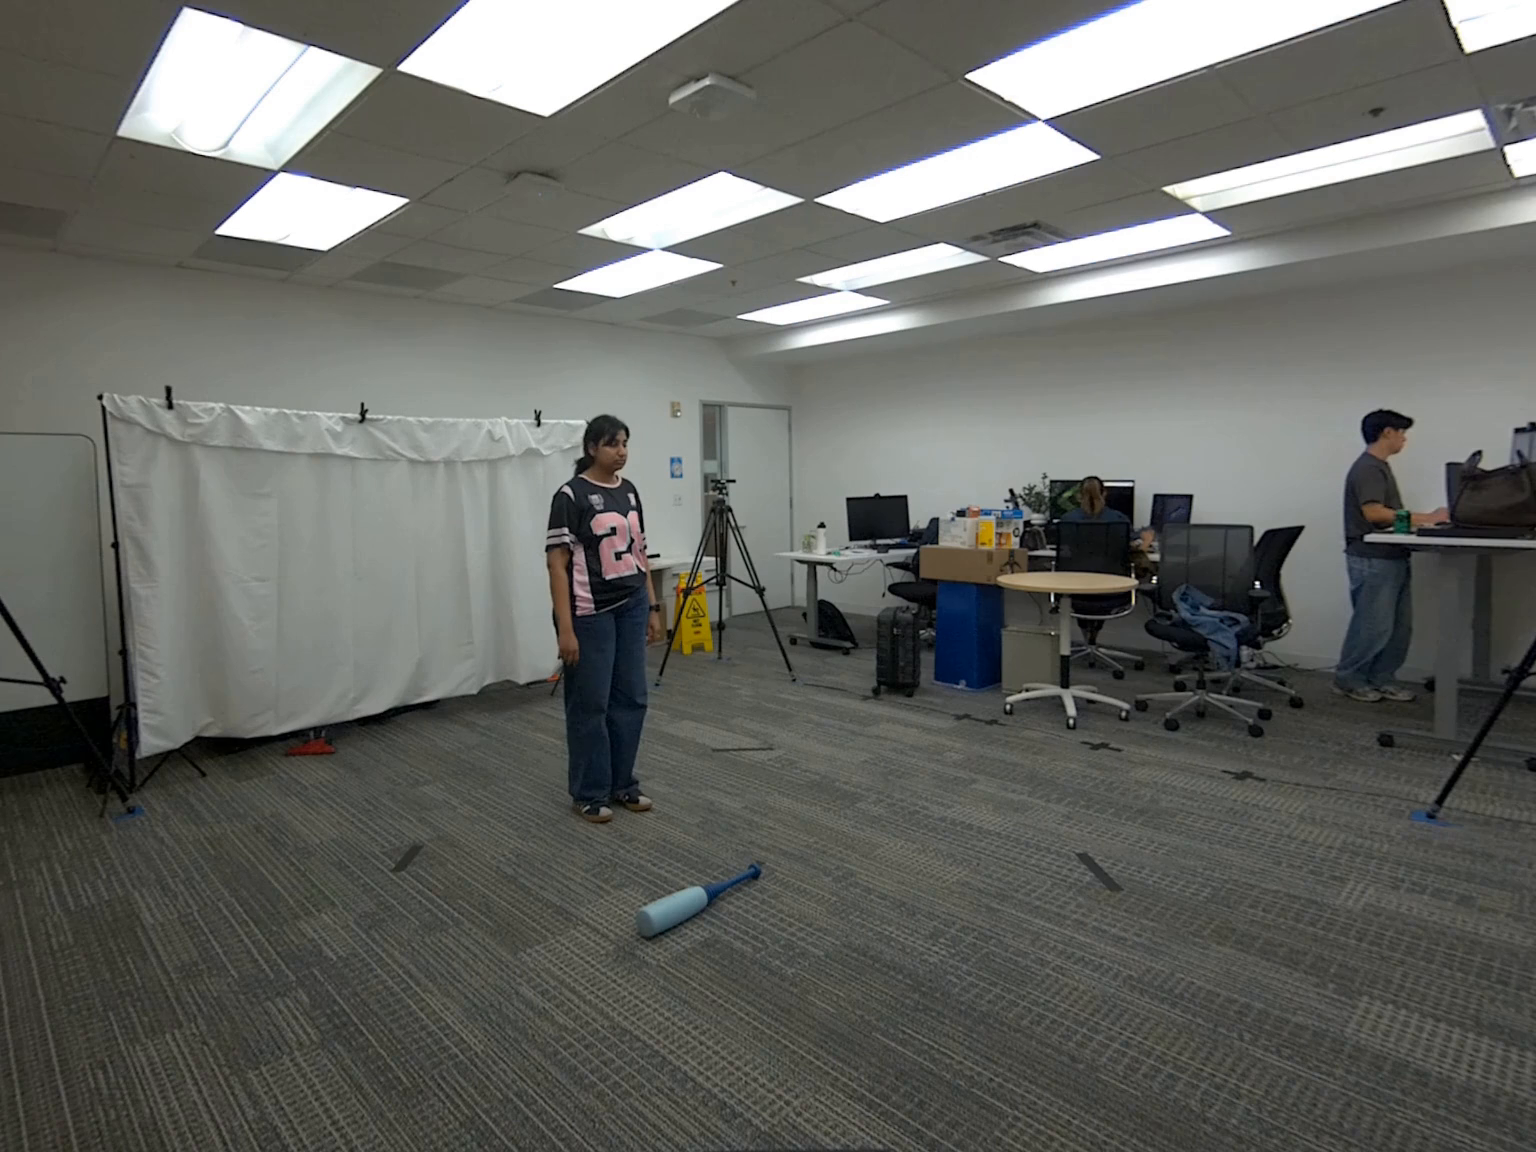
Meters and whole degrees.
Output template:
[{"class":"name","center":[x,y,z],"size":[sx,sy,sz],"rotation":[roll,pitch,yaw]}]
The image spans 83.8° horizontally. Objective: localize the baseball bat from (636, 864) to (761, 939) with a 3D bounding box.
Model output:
[{"class":"baseball bat","center":[-0.204,1.049,2.802],"size":[0.092,0.089,0.528],"rotation":[3,5,41]}]
